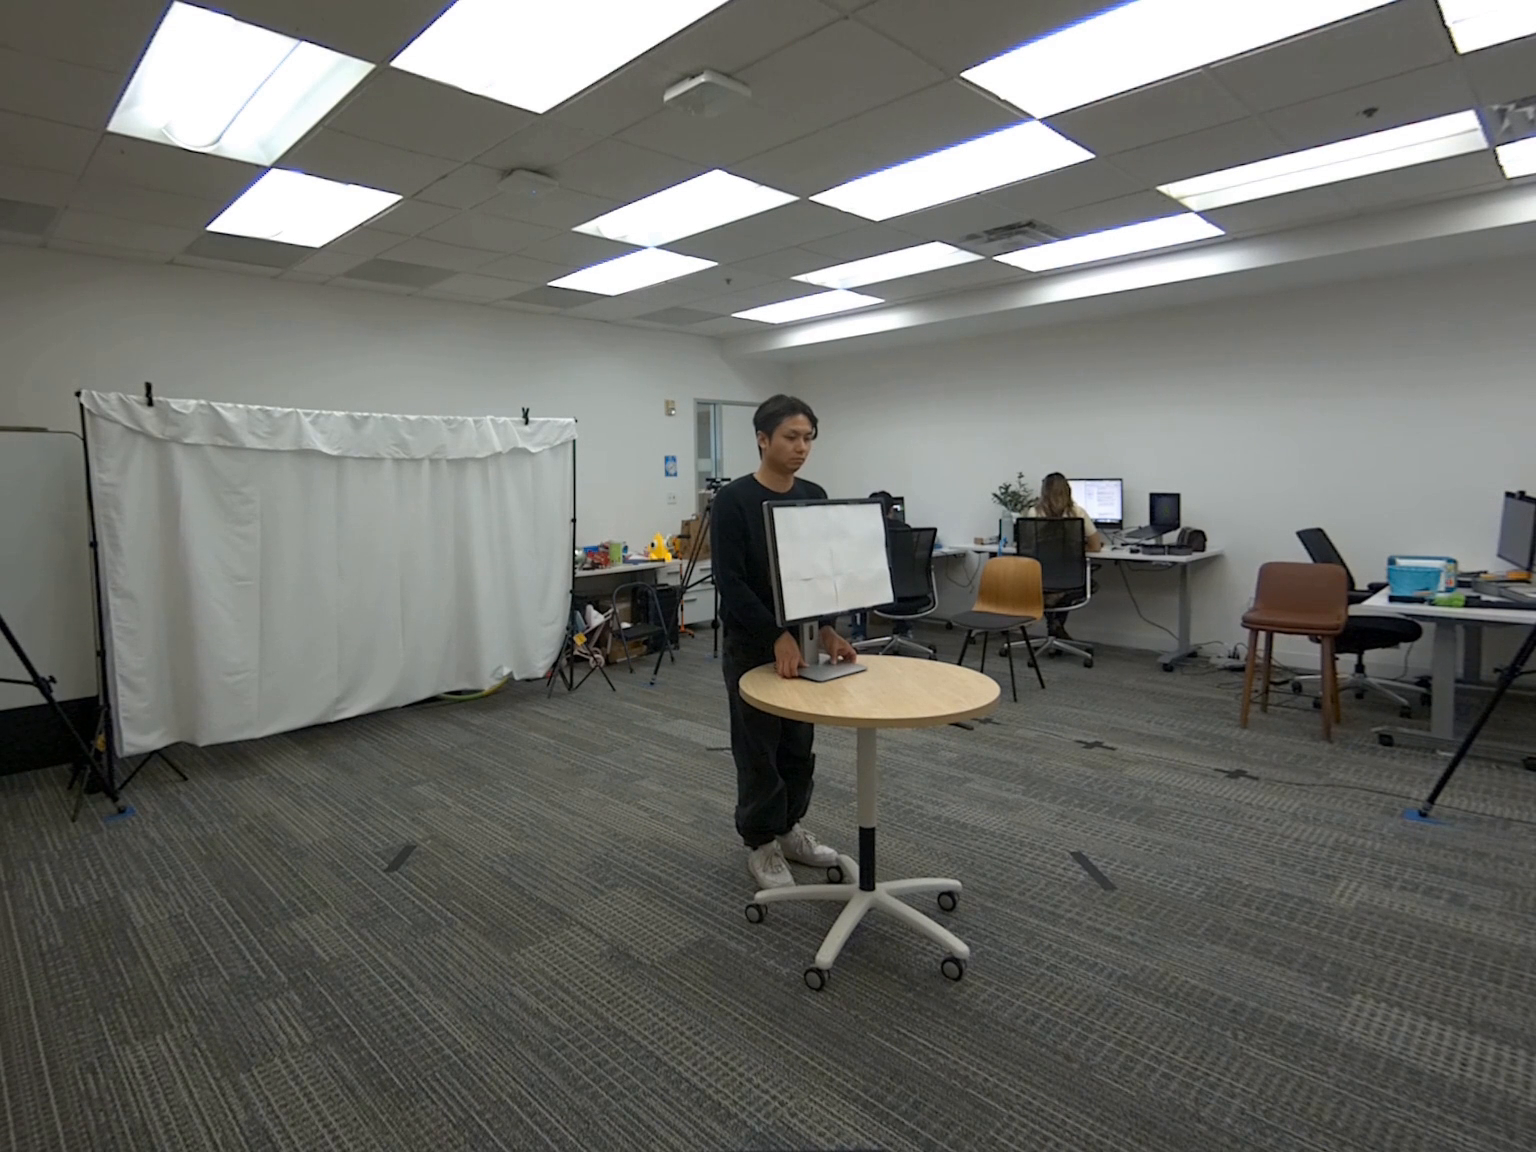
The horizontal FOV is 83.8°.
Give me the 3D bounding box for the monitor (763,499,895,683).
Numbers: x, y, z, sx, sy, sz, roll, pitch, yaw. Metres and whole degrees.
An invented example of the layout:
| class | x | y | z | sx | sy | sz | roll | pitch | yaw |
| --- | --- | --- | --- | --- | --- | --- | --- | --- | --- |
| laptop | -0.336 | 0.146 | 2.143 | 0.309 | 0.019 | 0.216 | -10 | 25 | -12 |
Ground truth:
| class | x | y | z | sx | sy | sz | roll | pitch | yaw |
| --- | --- | --- | --- | --- | --- | --- | --- | --- | --- |
| monitor | 0.169 | 0.036 | 2.687 | 0.193 | 0.520 | 0.525 | 6 | 8 | 40 |
